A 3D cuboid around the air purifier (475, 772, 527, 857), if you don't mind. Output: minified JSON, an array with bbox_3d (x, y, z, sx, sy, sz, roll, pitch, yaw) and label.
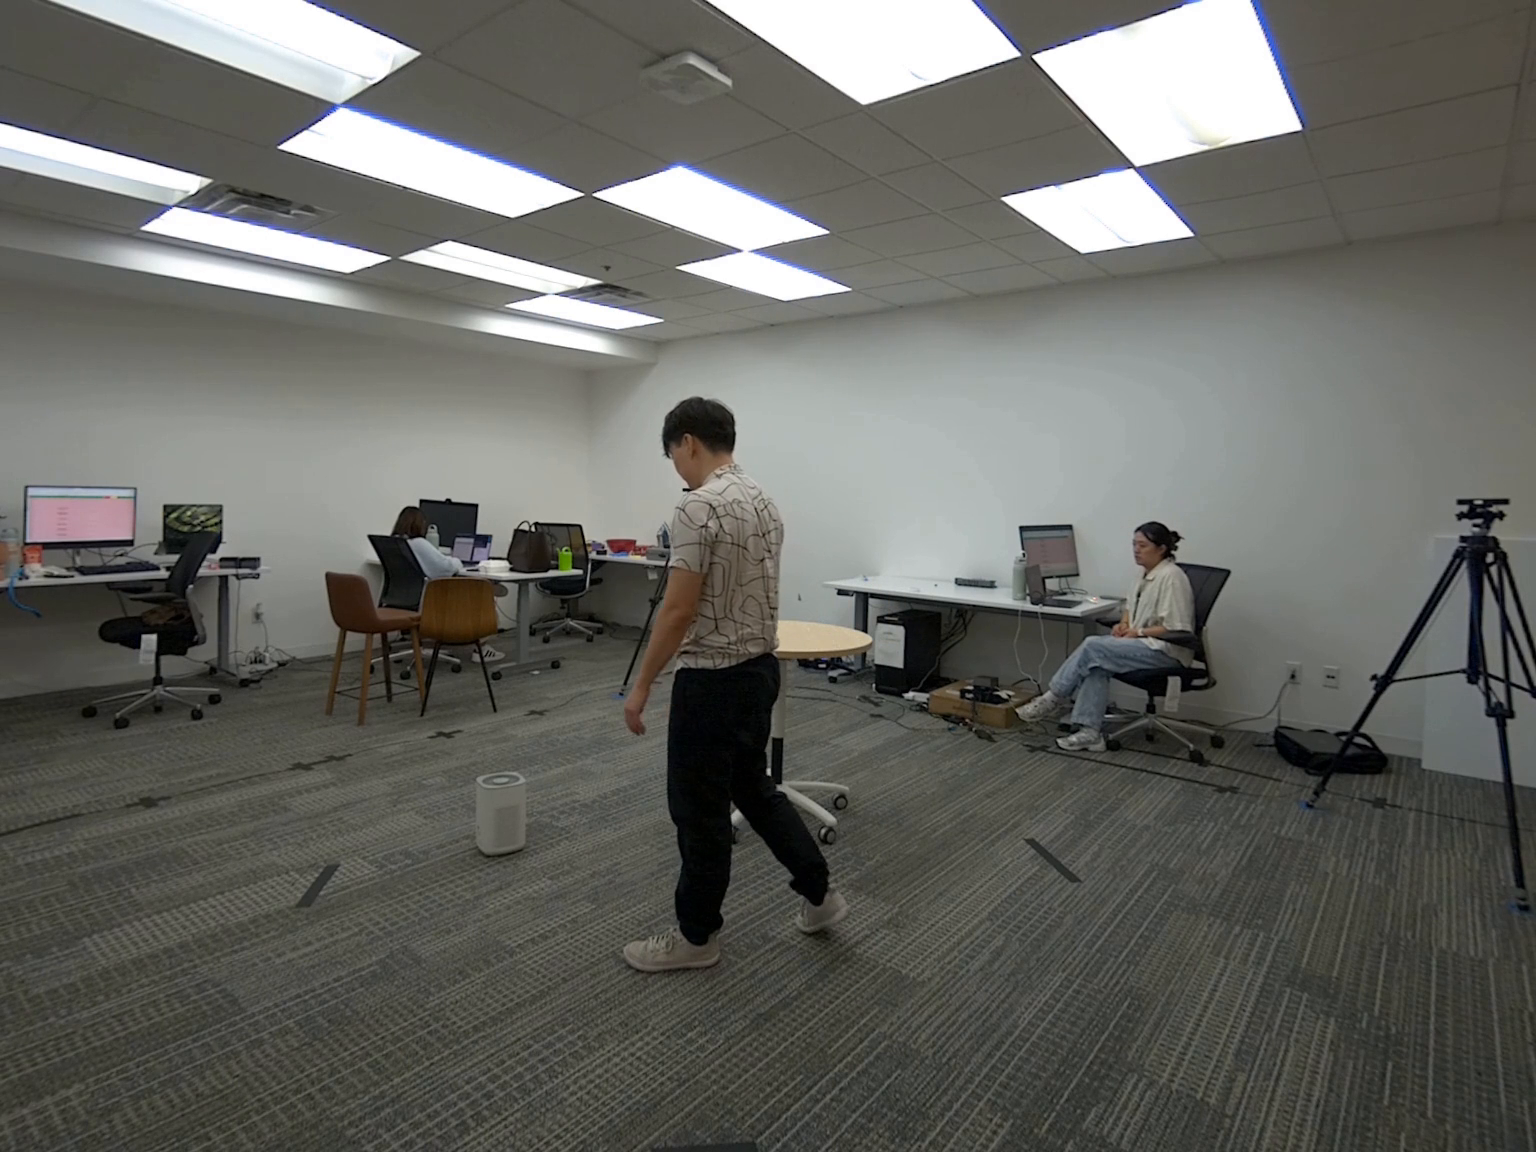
[{"bbox_3d":[-1.037,0.908,3.258,0.166,0.265,0.176,-1,4,-35],"label":"air purifier"}]
